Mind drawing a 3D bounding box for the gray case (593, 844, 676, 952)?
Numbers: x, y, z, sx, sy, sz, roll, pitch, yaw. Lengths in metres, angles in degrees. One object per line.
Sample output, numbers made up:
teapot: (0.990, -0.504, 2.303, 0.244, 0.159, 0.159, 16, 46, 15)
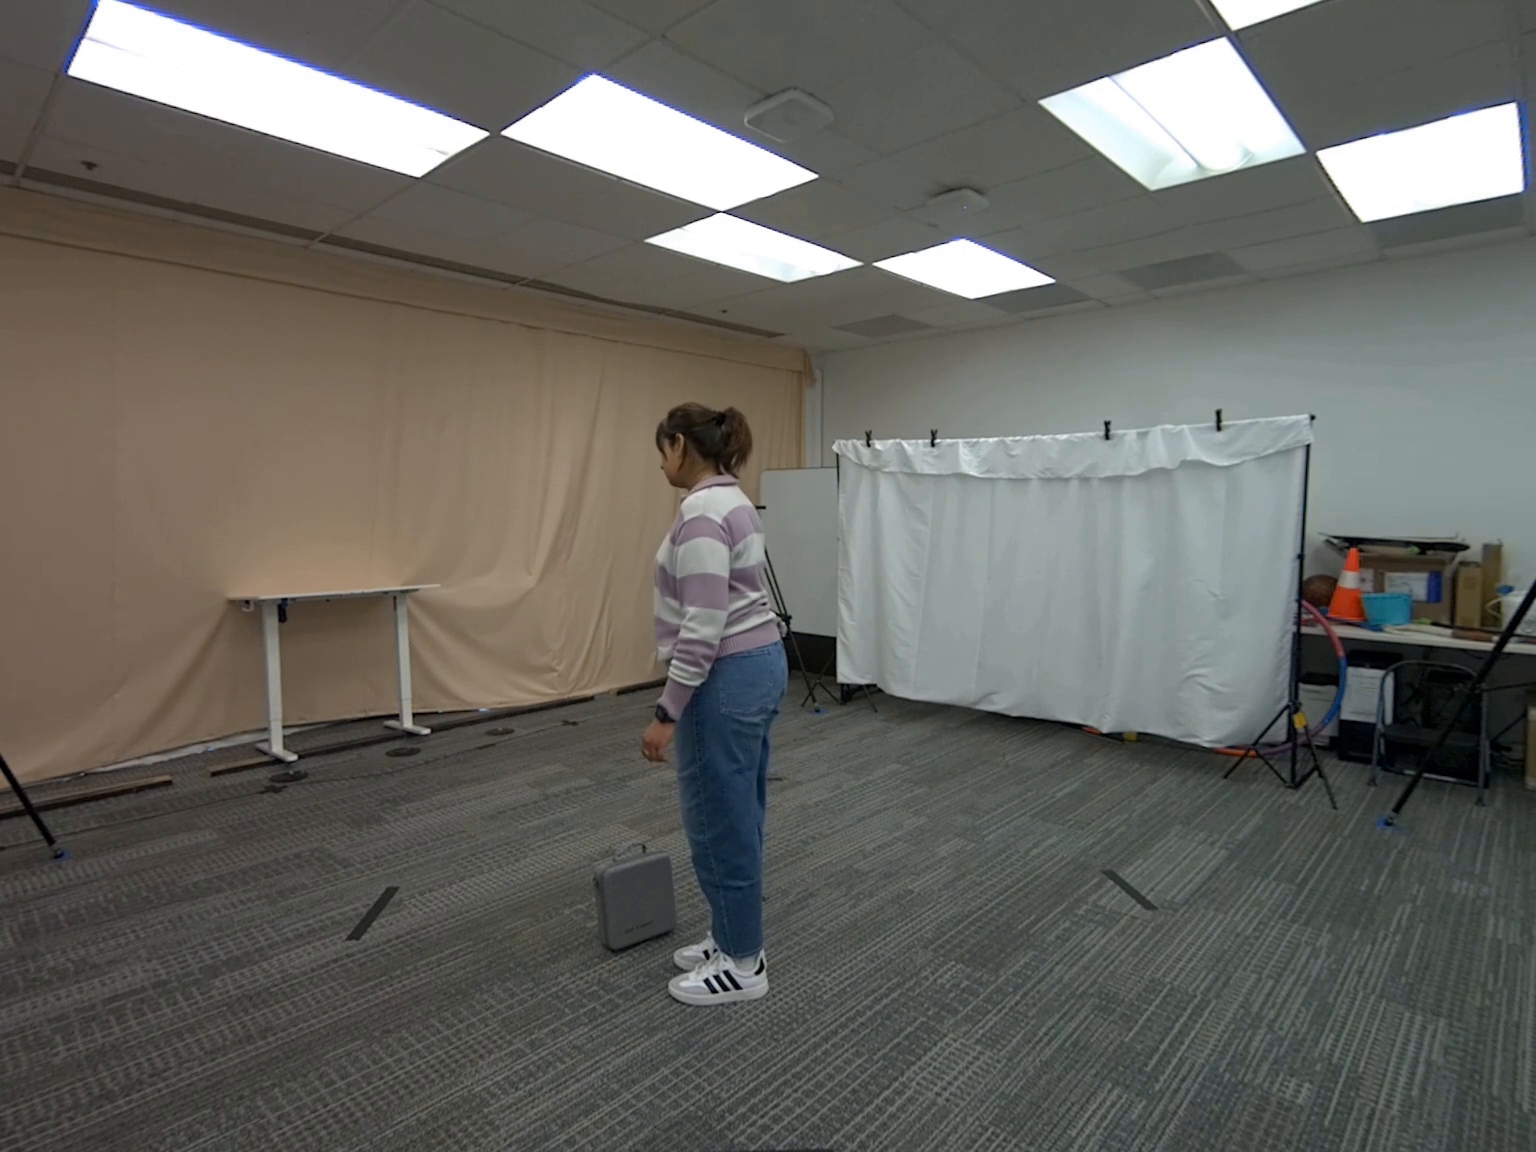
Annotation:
gray case: (-0.432, 1.036, 2.720, 0.249, 0.261, 0.107, -3, -5, -36)
